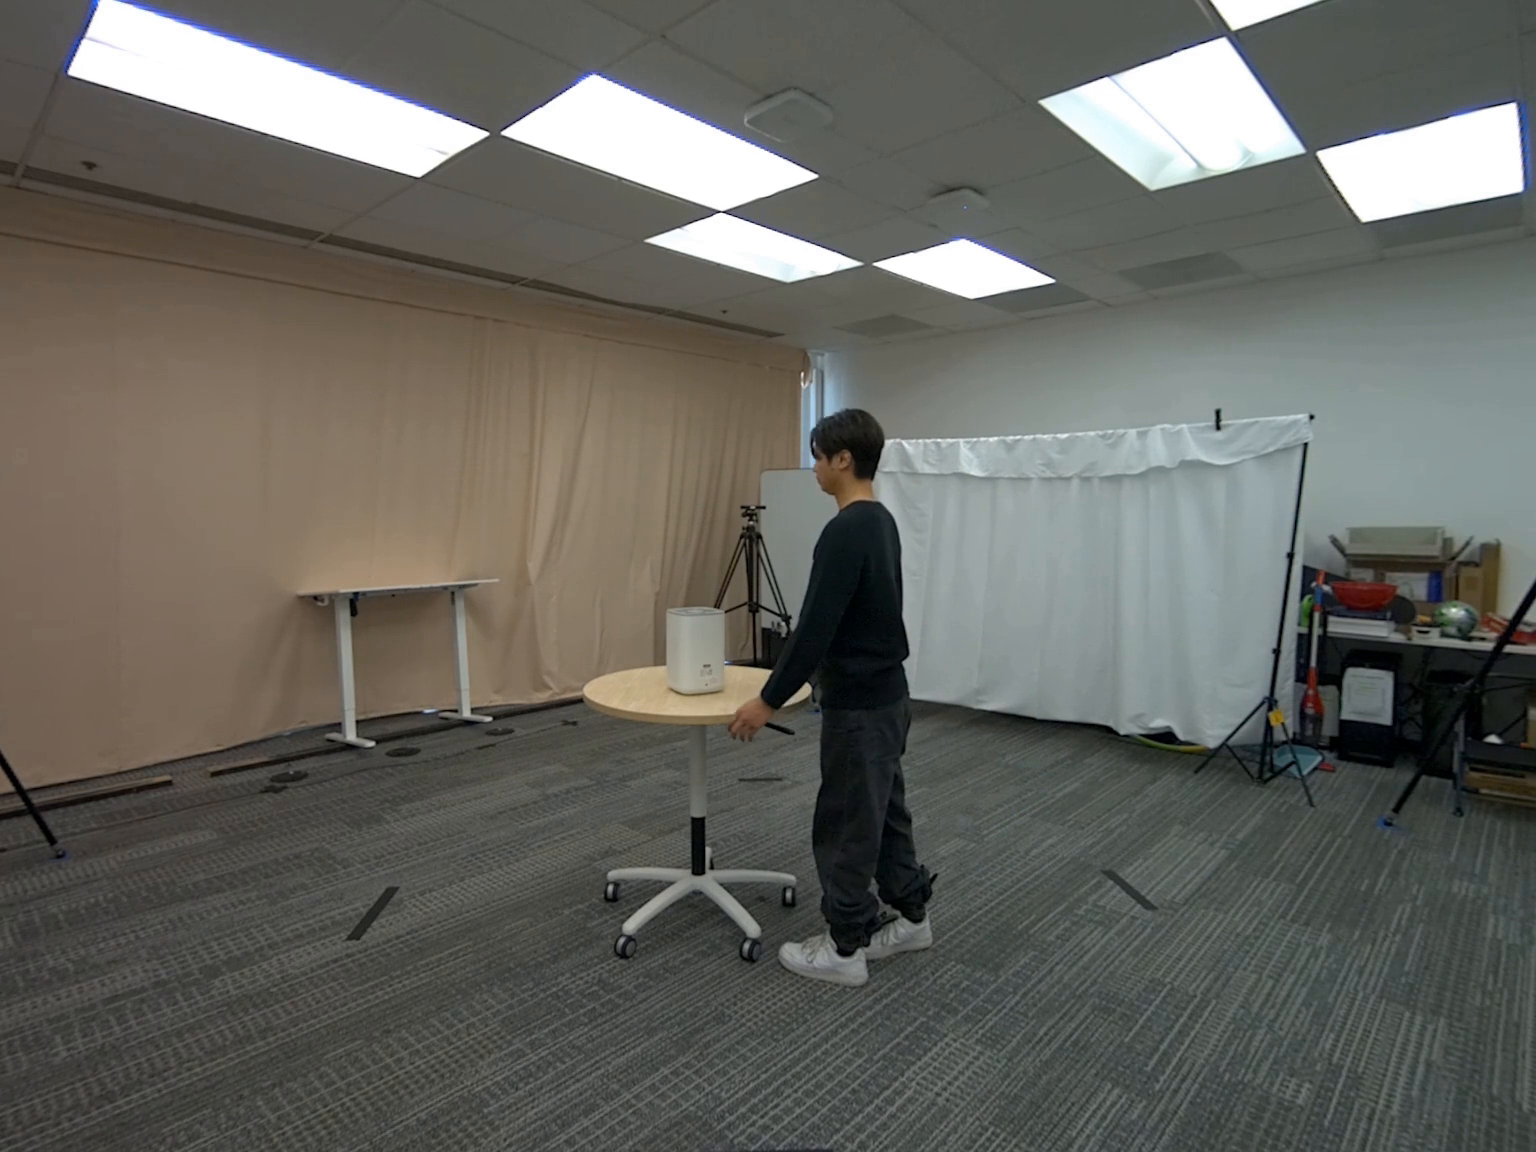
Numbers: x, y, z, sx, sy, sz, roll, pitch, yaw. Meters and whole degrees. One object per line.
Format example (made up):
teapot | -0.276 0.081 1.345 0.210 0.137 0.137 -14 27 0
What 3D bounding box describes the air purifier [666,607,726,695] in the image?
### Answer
air purifier | -0.231 0.245 2.785 0.166 0.265 0.177 -2 4 -31
